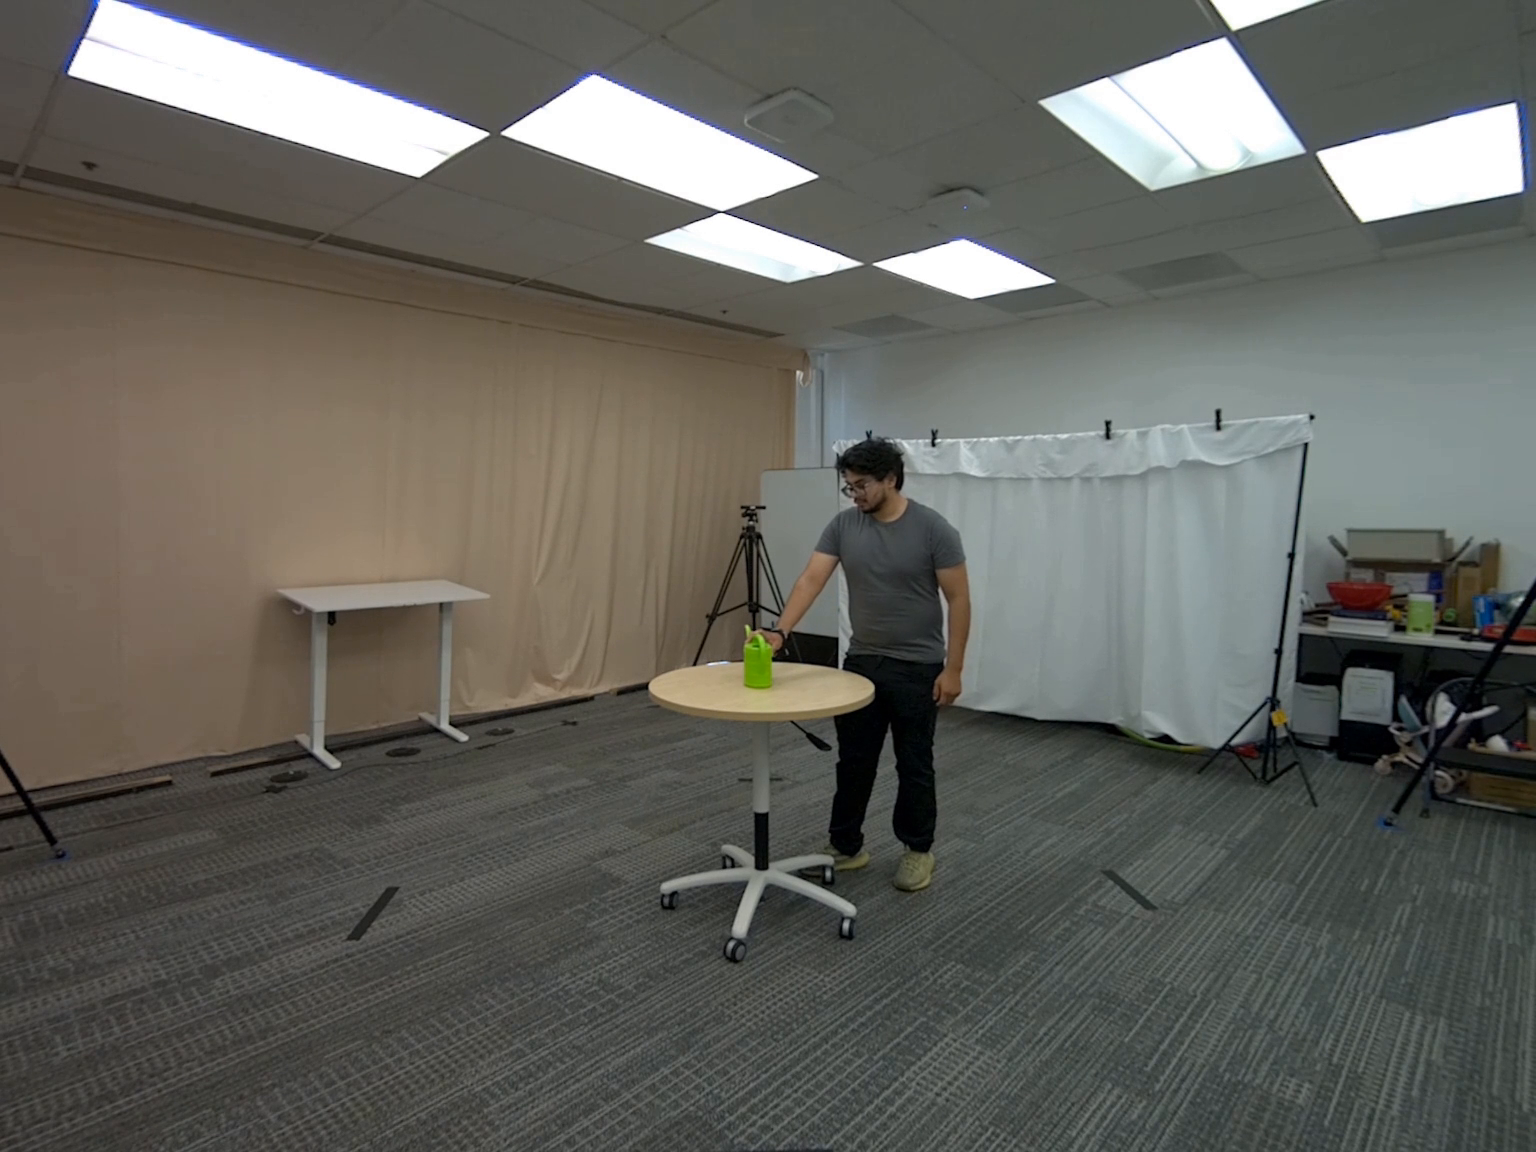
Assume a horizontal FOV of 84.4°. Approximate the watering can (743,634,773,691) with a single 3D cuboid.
[{"bbox_3d":[-0.027,0.280,2.903,0.098,0.176,0.279,1,8,-2],"label":"watering can"}]
